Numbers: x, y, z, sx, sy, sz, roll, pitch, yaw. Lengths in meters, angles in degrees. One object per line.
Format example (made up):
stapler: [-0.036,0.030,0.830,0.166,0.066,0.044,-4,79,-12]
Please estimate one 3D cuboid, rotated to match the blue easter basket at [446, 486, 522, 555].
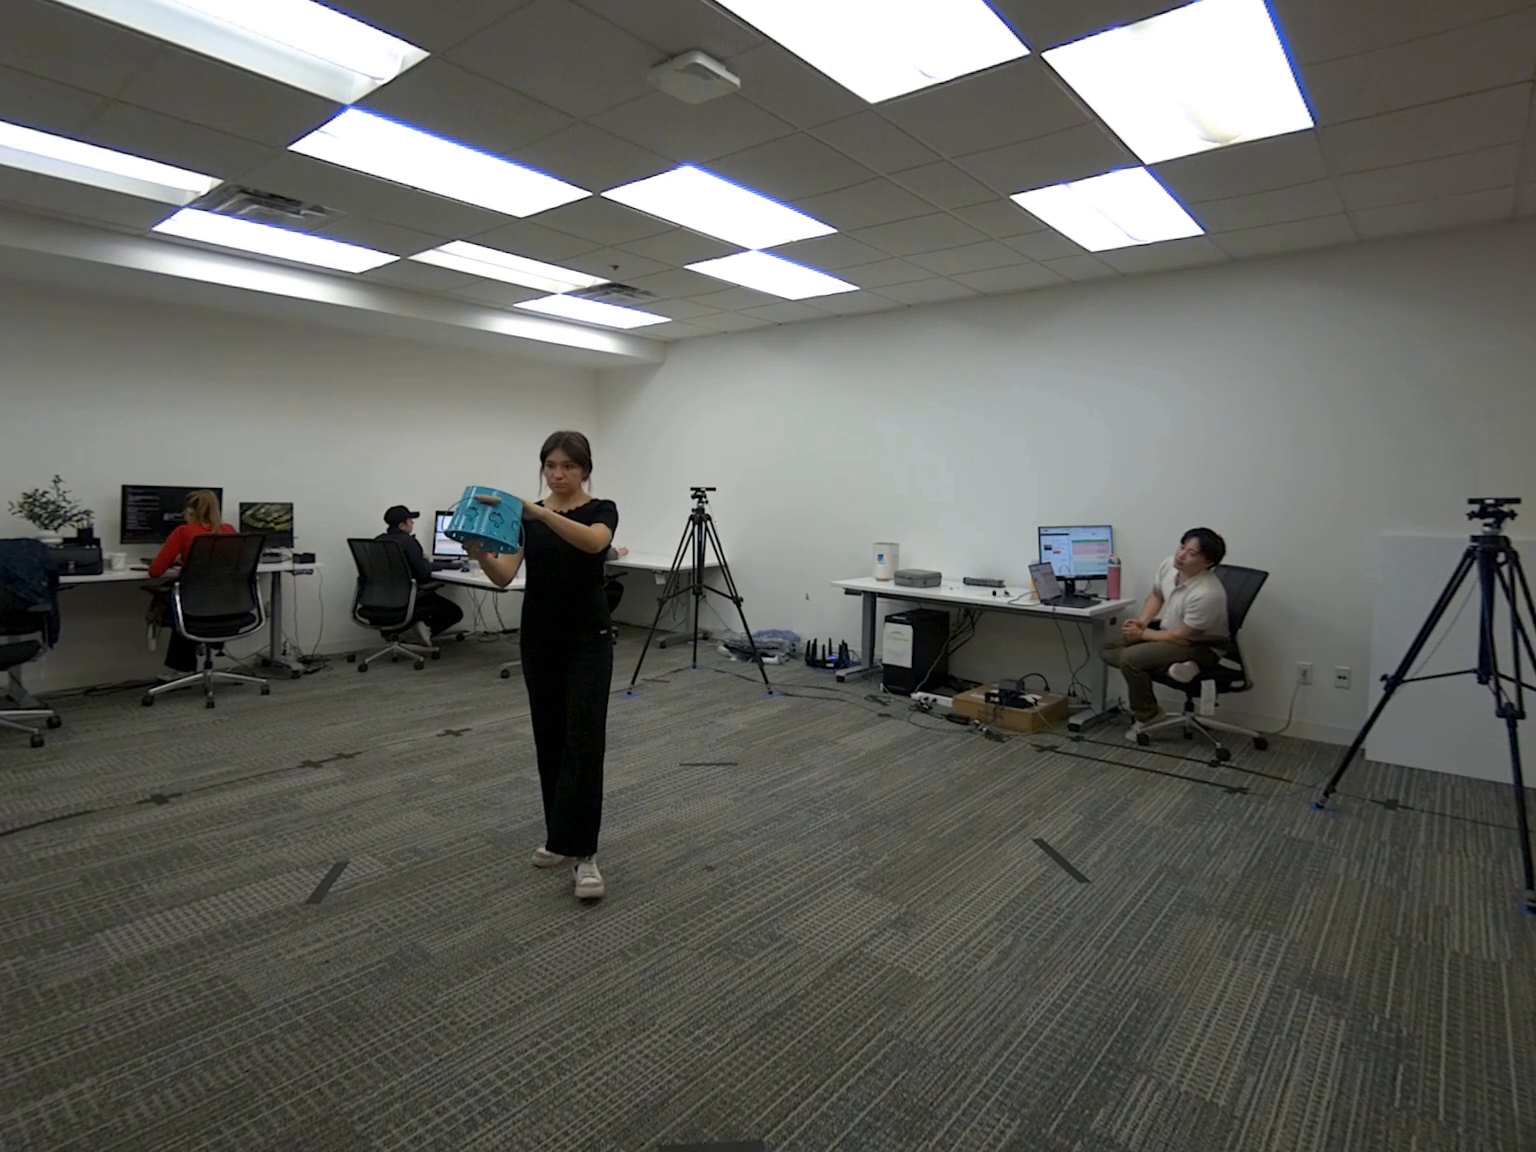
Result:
blue easter basket: [-0.872,-0.178,2.612,0.244,0.157,0.241,13,-13,1]
